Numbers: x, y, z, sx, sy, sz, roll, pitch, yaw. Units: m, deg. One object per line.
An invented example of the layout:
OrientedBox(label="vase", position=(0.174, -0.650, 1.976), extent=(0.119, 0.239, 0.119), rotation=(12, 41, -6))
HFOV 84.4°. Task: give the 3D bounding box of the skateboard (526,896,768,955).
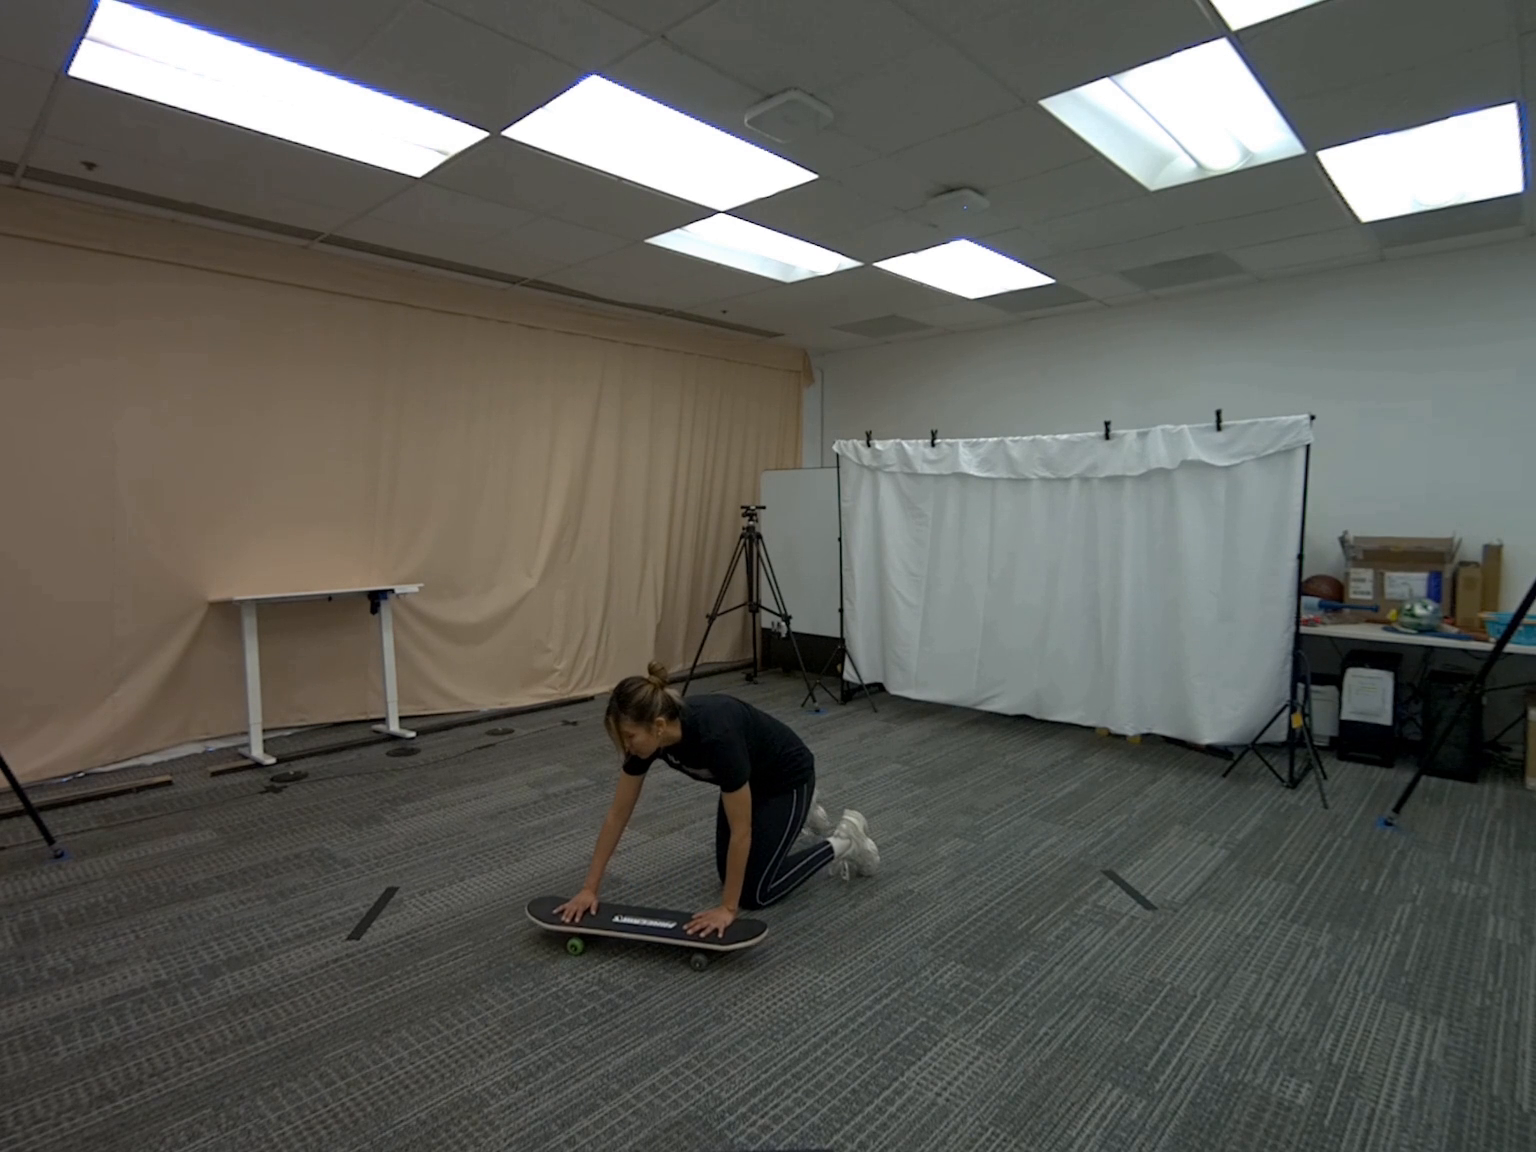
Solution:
OrientedBox(label="skateboard", position=(-0.391, 1.117, 2.645), extent=(0.798, 0.110, 0.191), rotation=(1, 4, 14))
